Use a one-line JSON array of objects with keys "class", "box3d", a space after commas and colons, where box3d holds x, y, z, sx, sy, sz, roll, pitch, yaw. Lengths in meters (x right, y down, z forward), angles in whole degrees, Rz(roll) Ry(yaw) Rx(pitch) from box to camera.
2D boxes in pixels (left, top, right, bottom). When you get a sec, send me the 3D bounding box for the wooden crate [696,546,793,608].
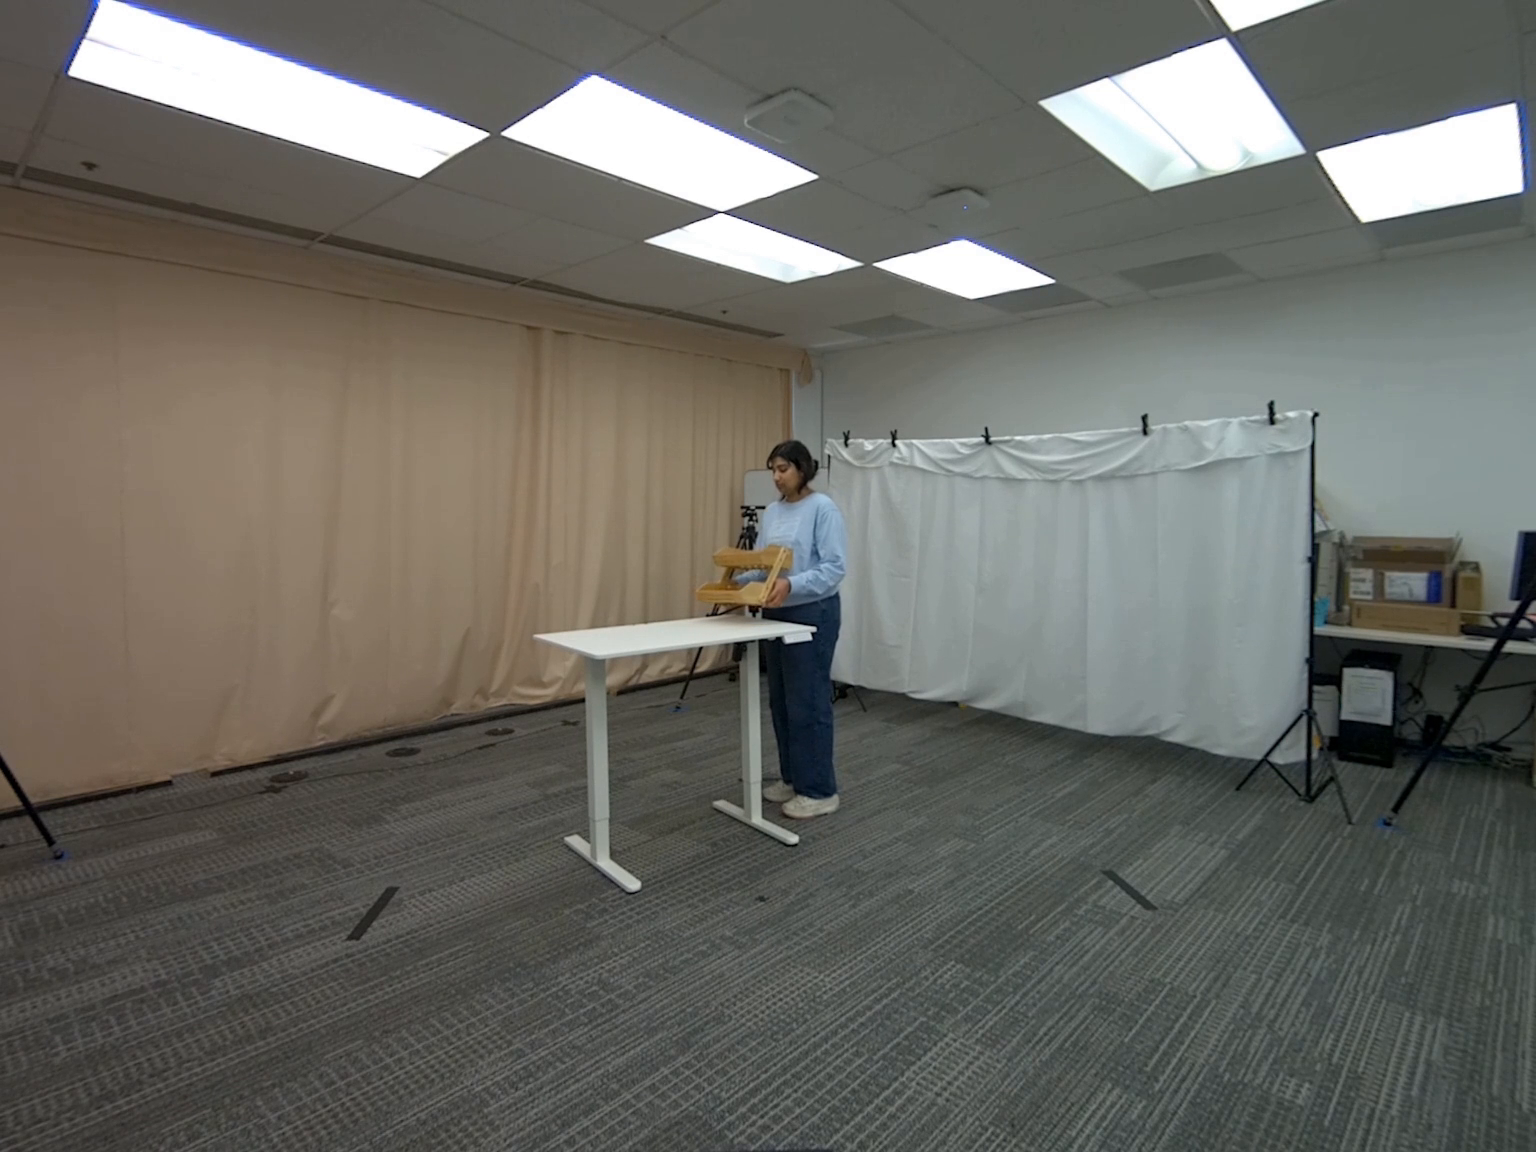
[{"class": "wooden crate", "box3d": [-0.102, -0.006, 3.731, 0.292, 0.274, 0.334, 9, -8, -43]}]
